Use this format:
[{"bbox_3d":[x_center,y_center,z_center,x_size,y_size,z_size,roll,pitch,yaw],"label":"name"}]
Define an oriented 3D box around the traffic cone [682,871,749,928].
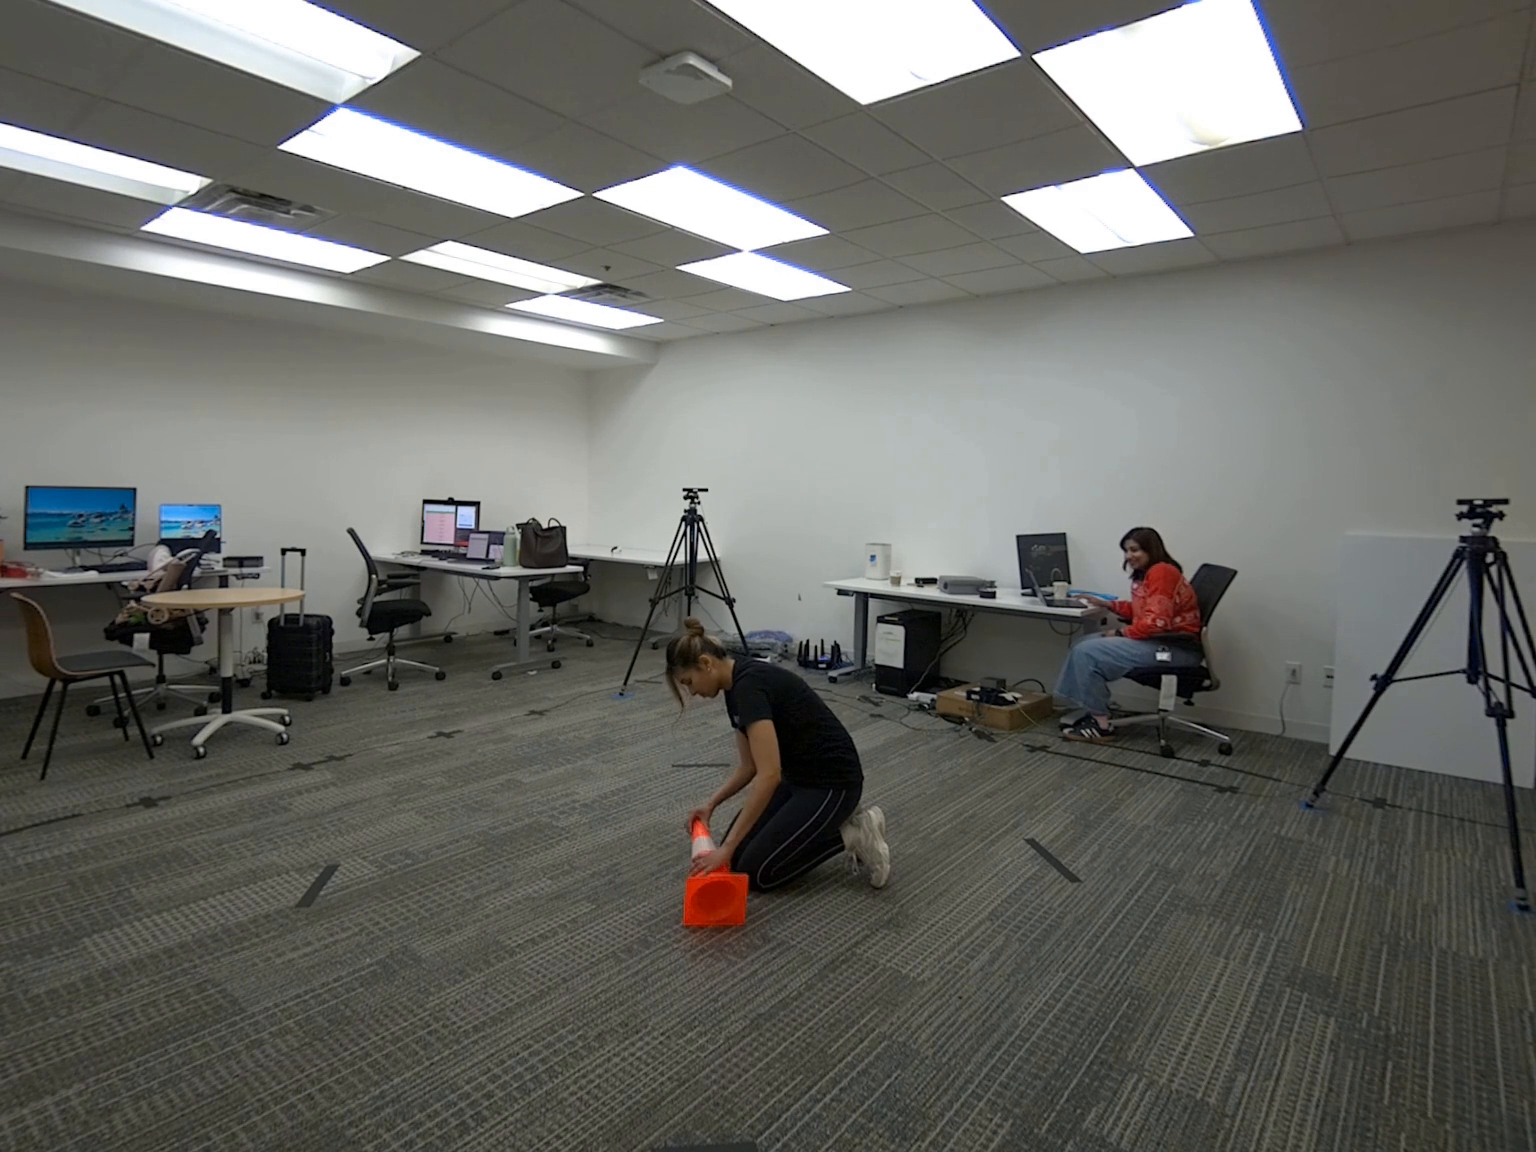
[{"bbox_3d":[-0.212,0.951,2.834,0.202,0.200,0.395,2,21,-13],"label":"traffic cone"}]
